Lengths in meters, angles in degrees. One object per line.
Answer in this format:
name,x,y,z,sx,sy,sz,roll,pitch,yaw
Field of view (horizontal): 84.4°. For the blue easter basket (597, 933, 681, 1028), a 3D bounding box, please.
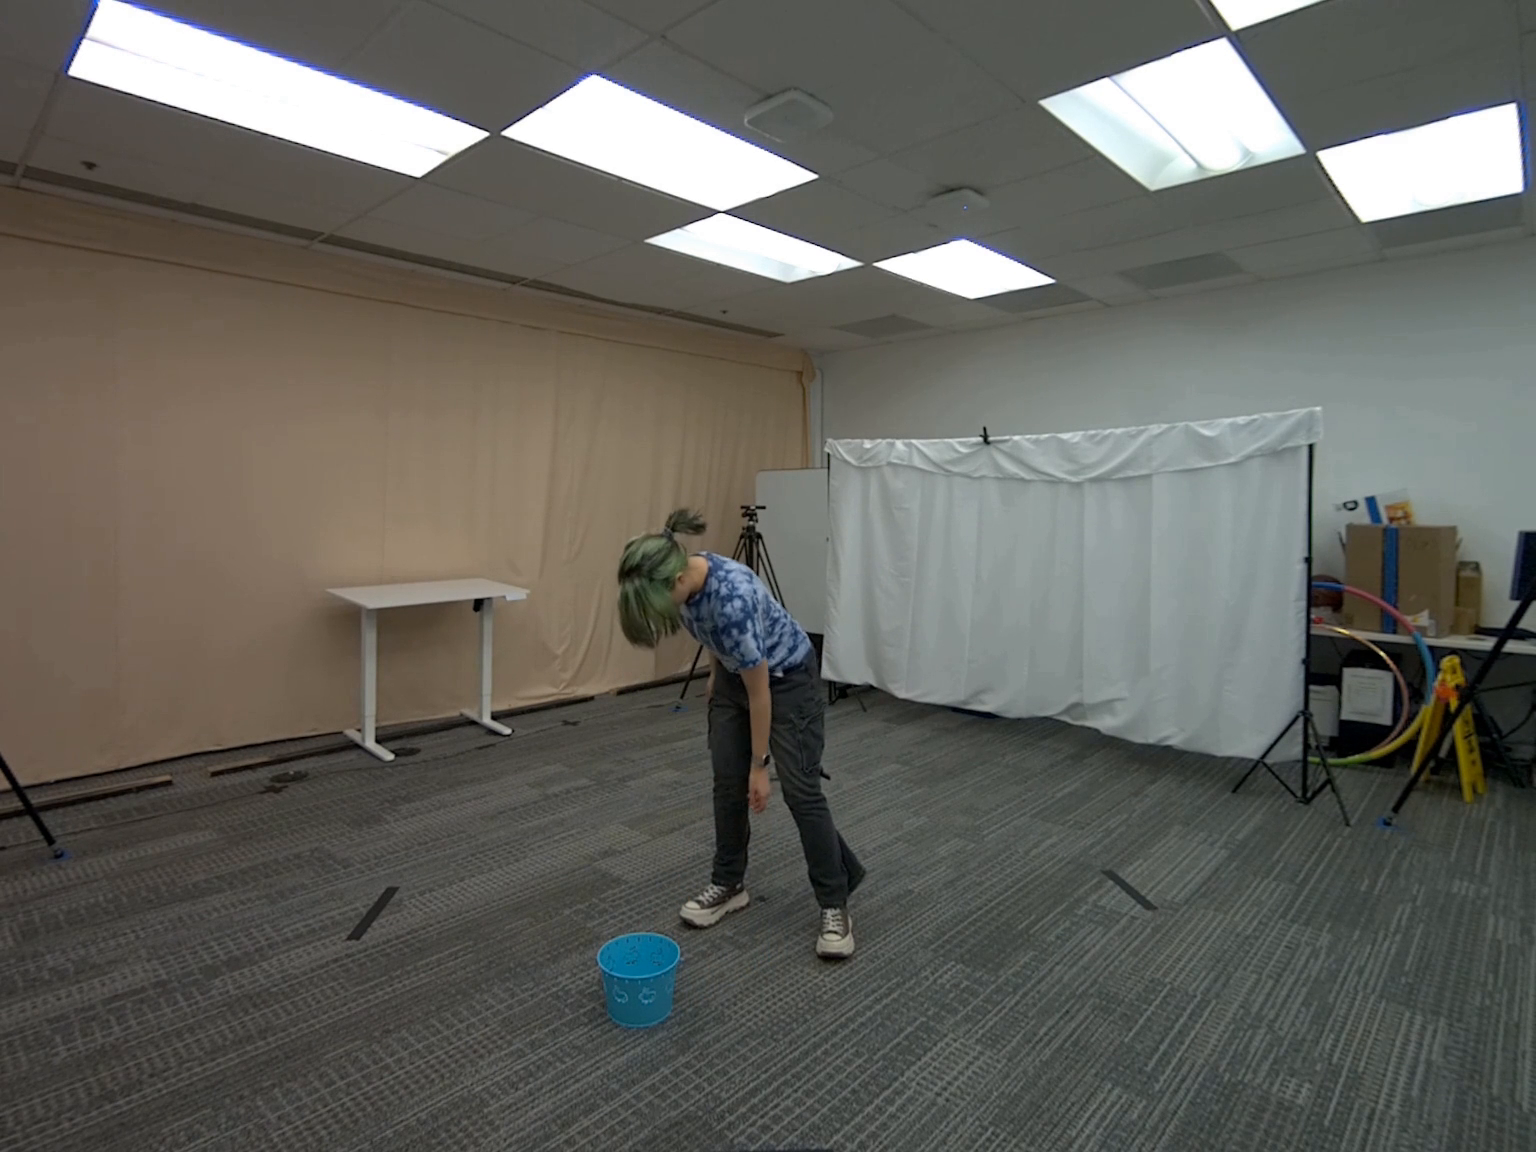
blue easter basket,-0.349,1.121,2.334,0.243,0.155,0.244,0,4,-2
